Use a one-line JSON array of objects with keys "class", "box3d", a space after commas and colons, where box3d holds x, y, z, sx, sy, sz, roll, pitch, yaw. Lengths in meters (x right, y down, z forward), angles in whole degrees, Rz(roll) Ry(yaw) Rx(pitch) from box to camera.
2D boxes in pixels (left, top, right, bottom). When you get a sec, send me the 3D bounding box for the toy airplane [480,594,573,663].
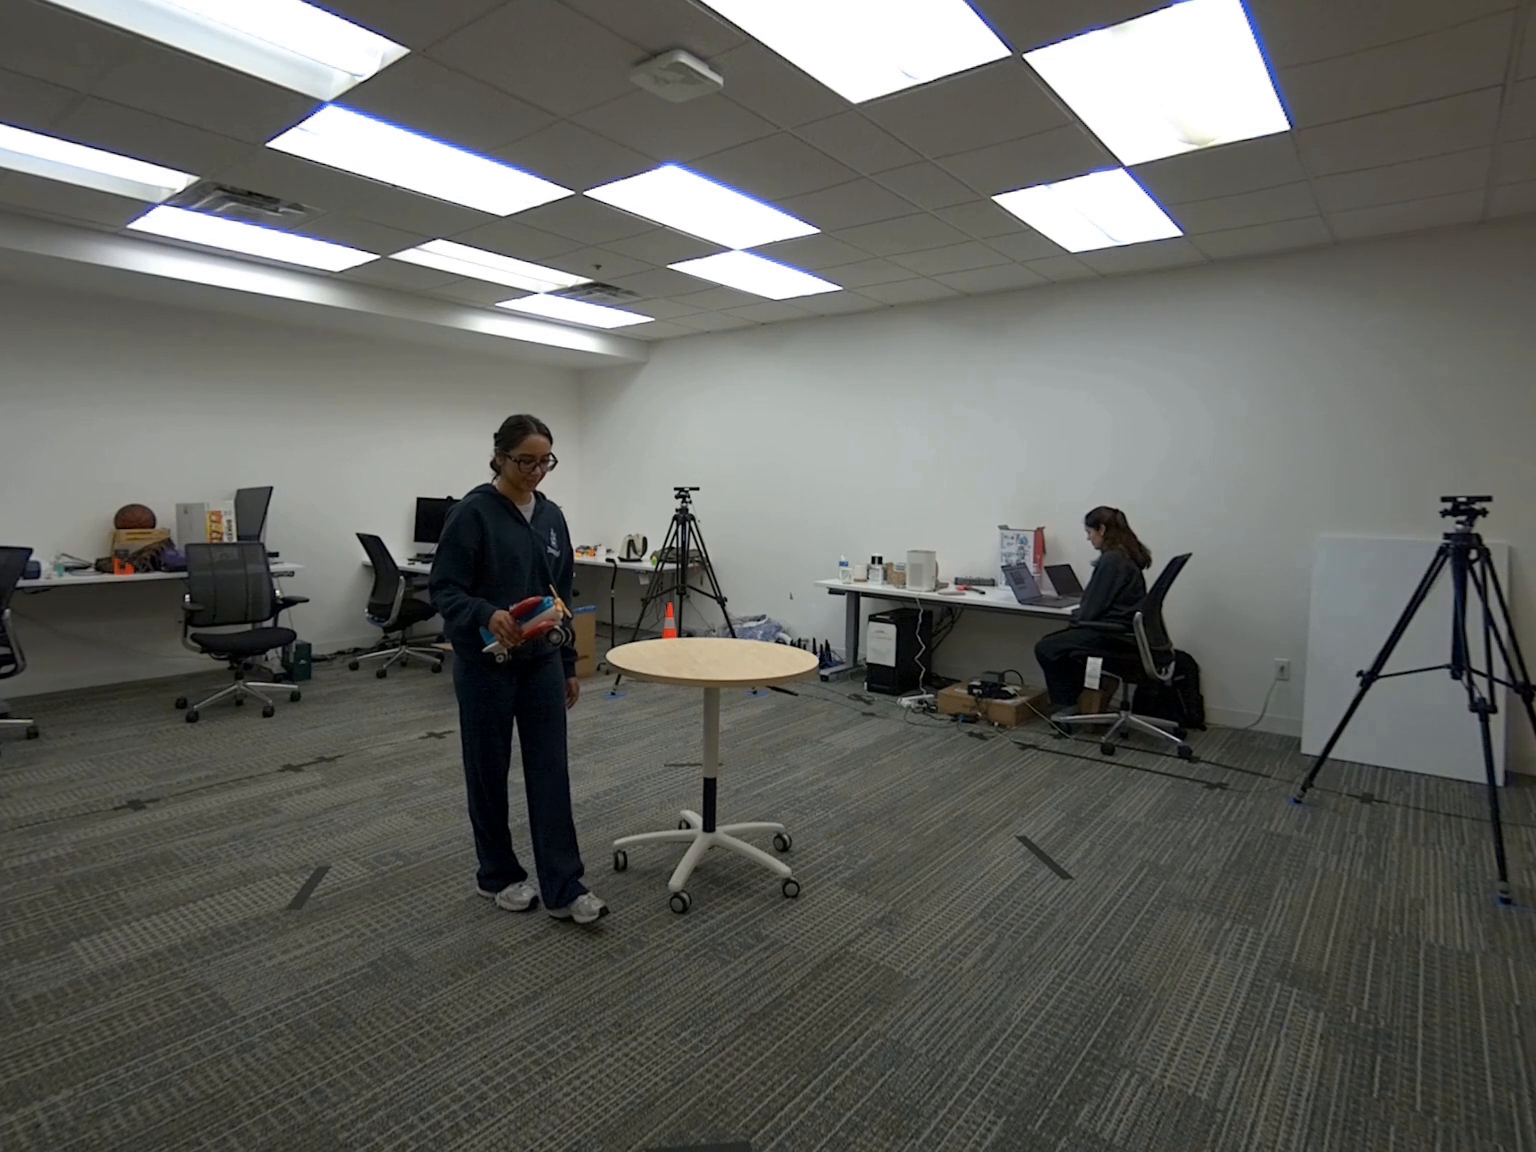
[{"class": "toy airplane", "box3d": [-0.722, 0.158, 2.472, 0.254, 0.157, 0.254, -16, -4, -27]}]
